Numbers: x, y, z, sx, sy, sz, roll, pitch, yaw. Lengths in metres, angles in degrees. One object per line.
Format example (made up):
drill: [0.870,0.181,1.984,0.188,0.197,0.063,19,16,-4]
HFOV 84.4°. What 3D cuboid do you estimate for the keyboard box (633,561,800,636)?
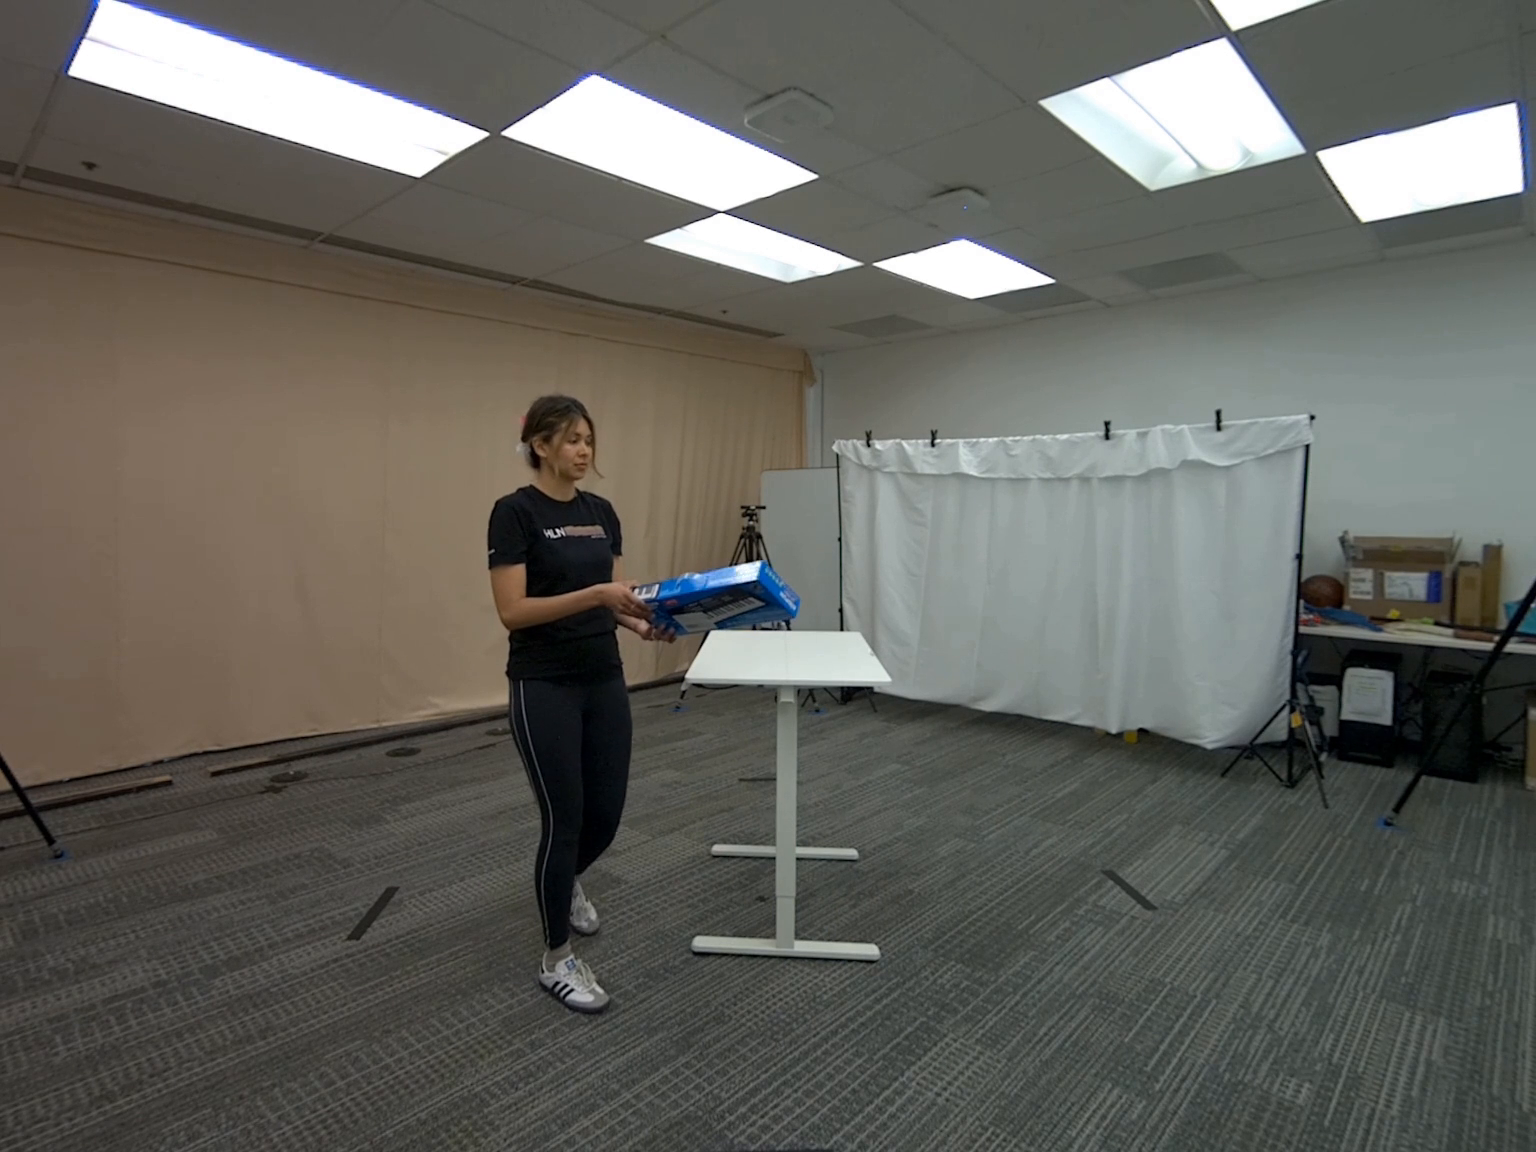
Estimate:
keyboard box: [-0.150,0.071,2.169,0.448,0.059,0.170,-11,-43,36]
